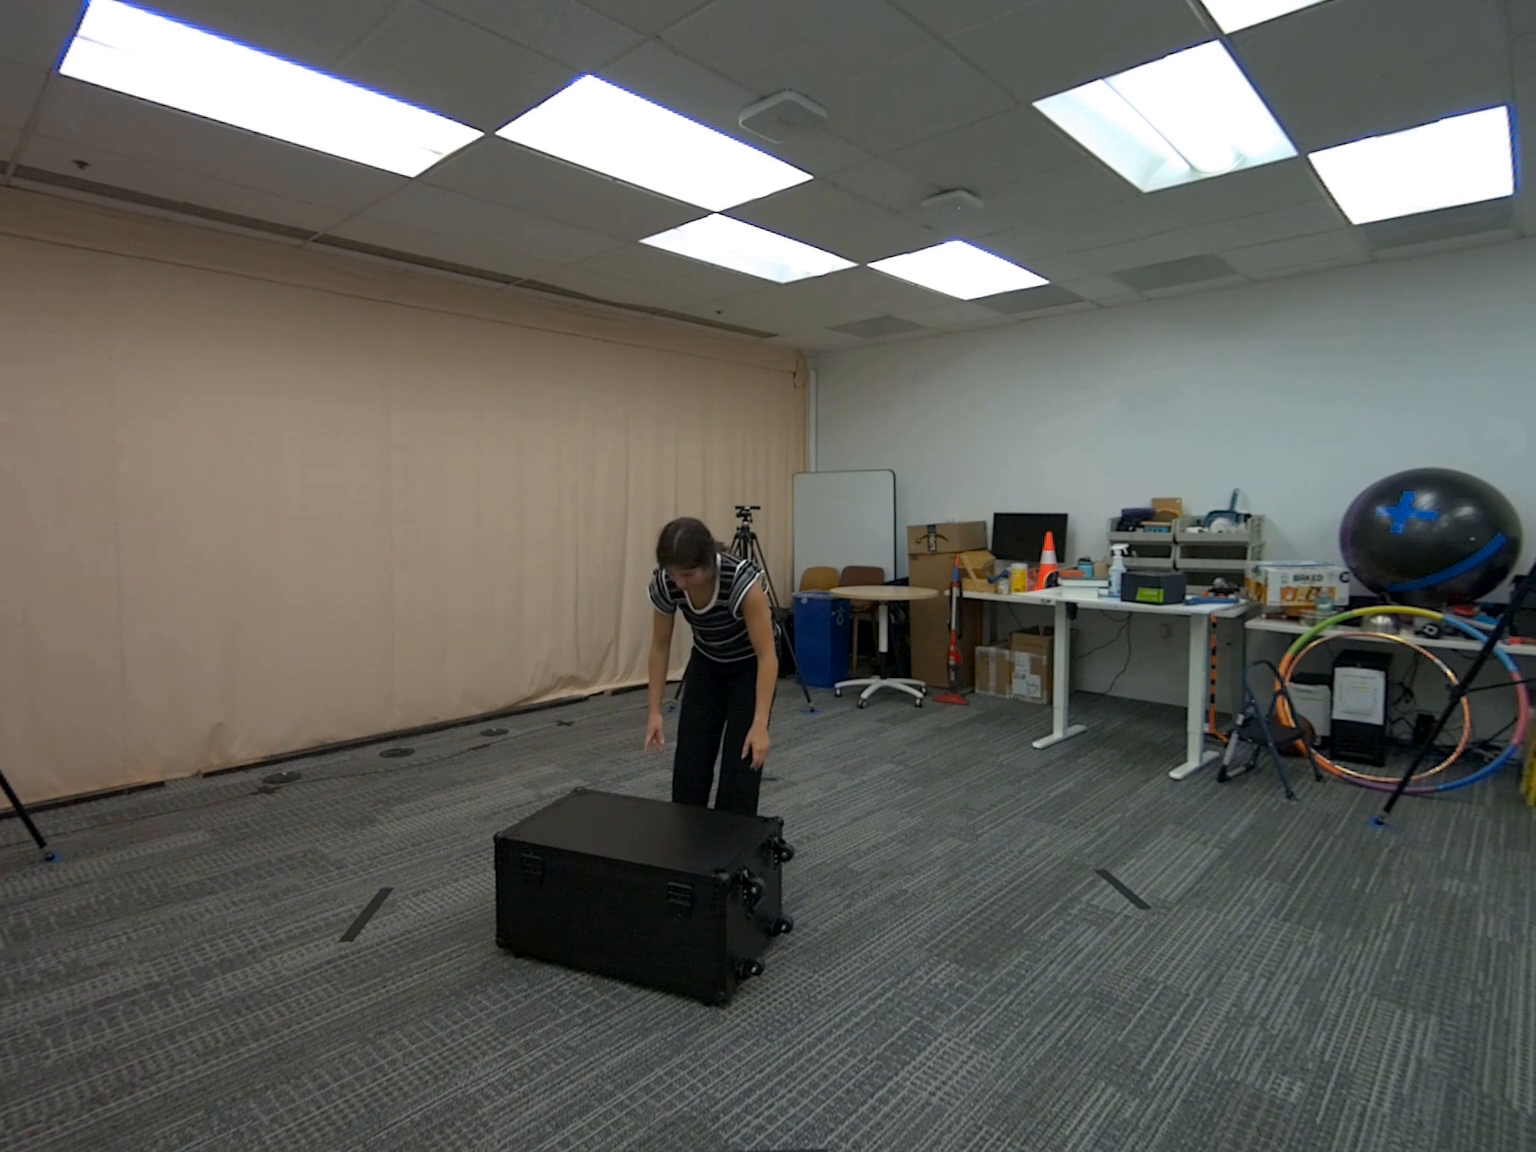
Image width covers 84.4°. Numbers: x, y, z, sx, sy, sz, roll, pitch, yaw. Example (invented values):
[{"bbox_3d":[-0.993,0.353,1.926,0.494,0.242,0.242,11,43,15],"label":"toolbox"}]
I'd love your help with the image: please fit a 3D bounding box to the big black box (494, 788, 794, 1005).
[{"bbox_3d":[-0.367,0.981,2.665,0.881,0.395,0.510,1,3,22],"label":"big black box"}]
